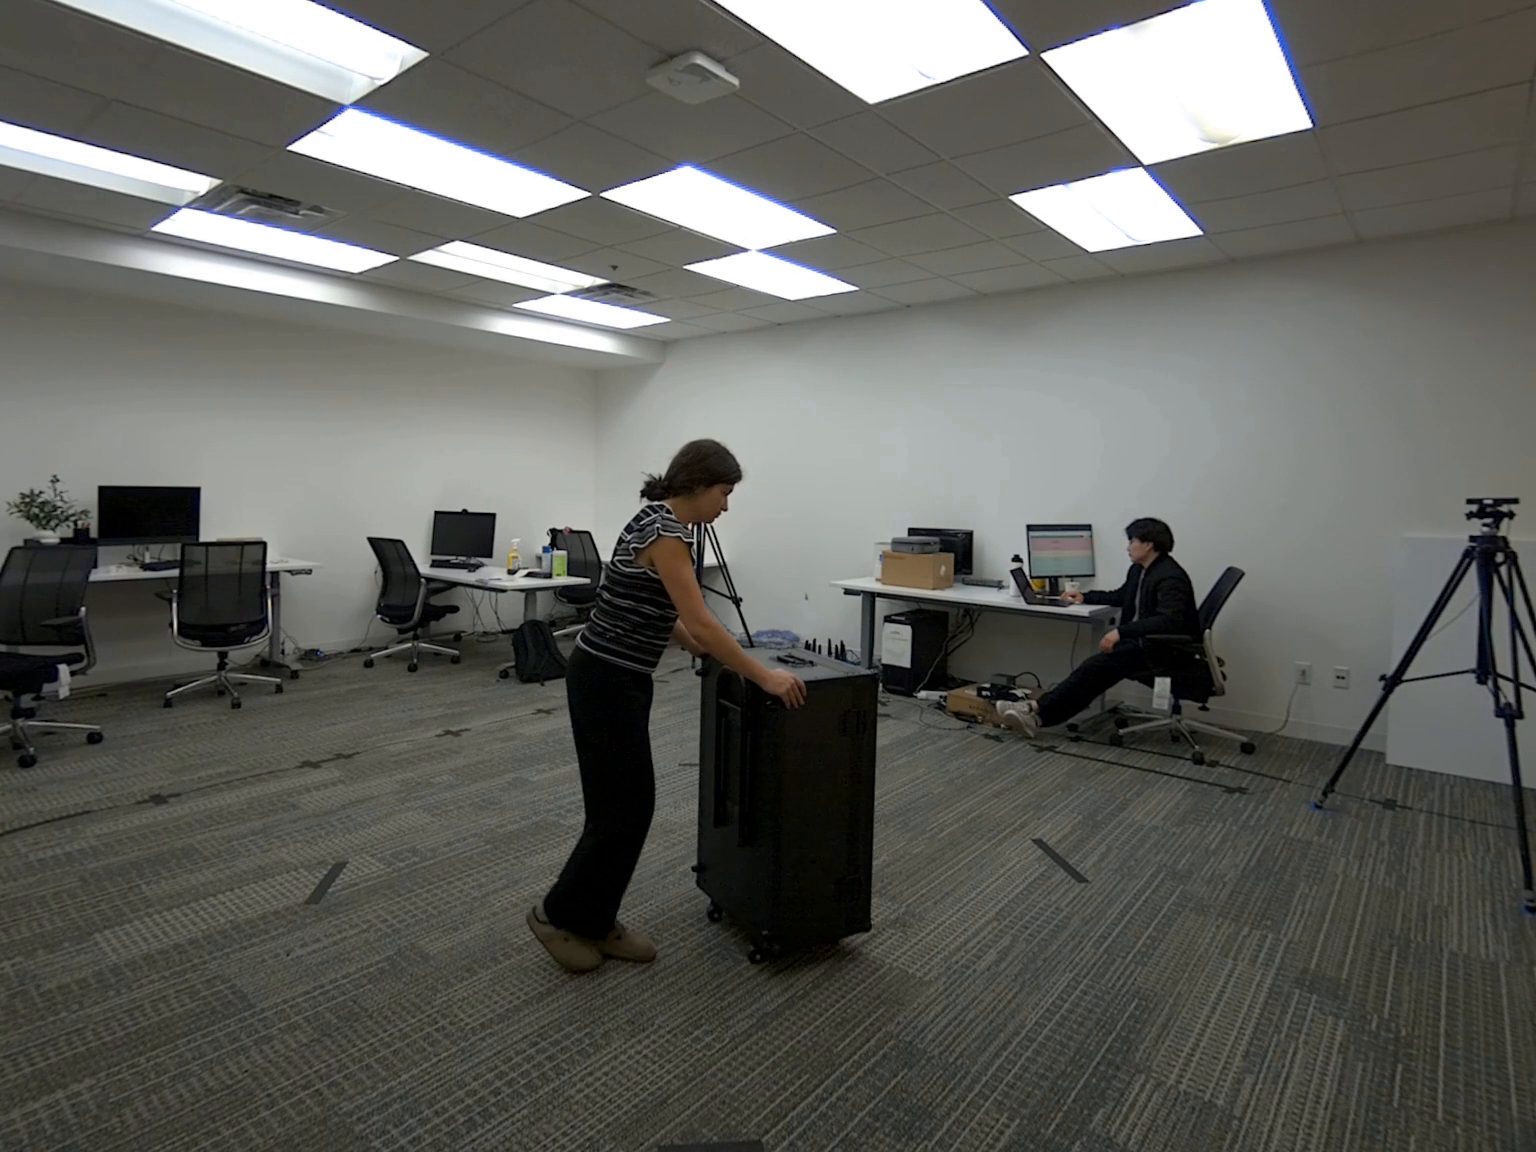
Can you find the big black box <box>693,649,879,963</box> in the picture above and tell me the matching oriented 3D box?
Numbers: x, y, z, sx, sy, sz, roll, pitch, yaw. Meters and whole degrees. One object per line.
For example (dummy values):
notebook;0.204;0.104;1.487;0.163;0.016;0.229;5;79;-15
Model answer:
big black box;0.030;0.689;2.657;0.386;0.859;0.537;-1;4;-30
